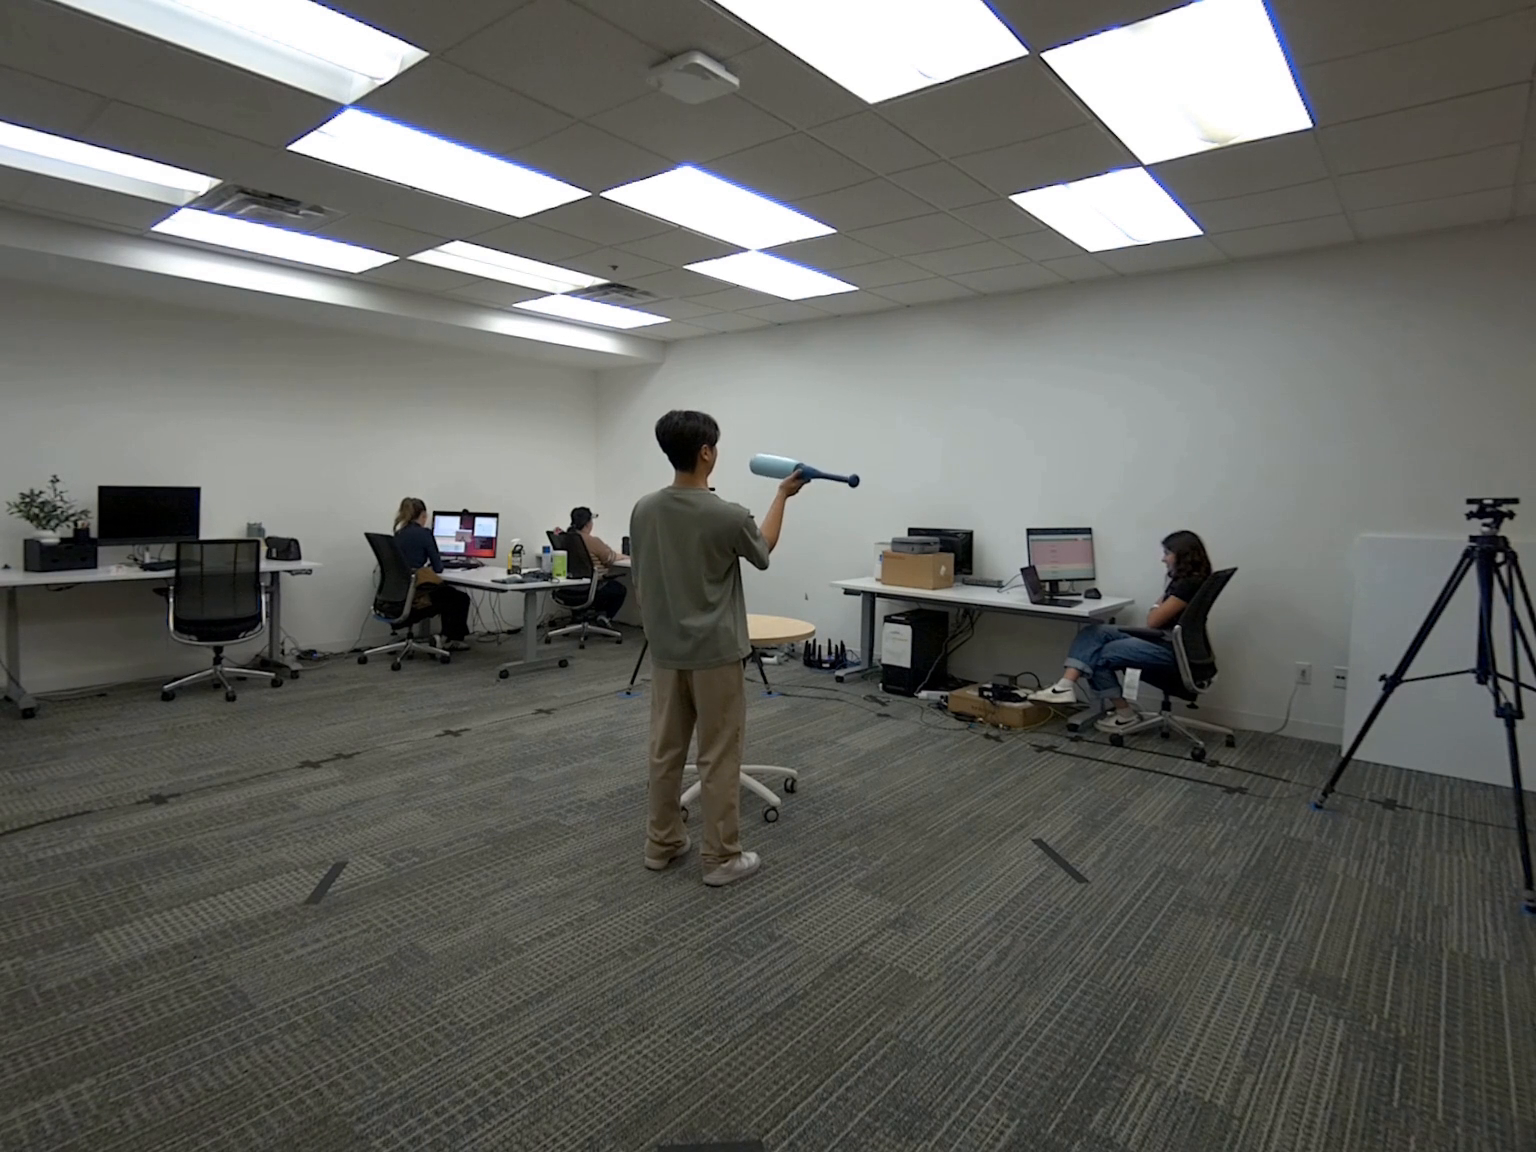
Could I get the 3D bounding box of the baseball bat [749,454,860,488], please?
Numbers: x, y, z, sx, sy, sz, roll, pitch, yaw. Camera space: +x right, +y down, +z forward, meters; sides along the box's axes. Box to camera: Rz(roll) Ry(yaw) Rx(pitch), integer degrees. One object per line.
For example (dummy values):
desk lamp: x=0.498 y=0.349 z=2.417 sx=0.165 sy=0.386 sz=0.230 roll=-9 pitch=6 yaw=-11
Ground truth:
baseball bat: x=0.119 y=-0.397 z=3.271 sx=0.086 sy=0.088 sz=0.564 roll=-3 pitch=14 yaw=-41
